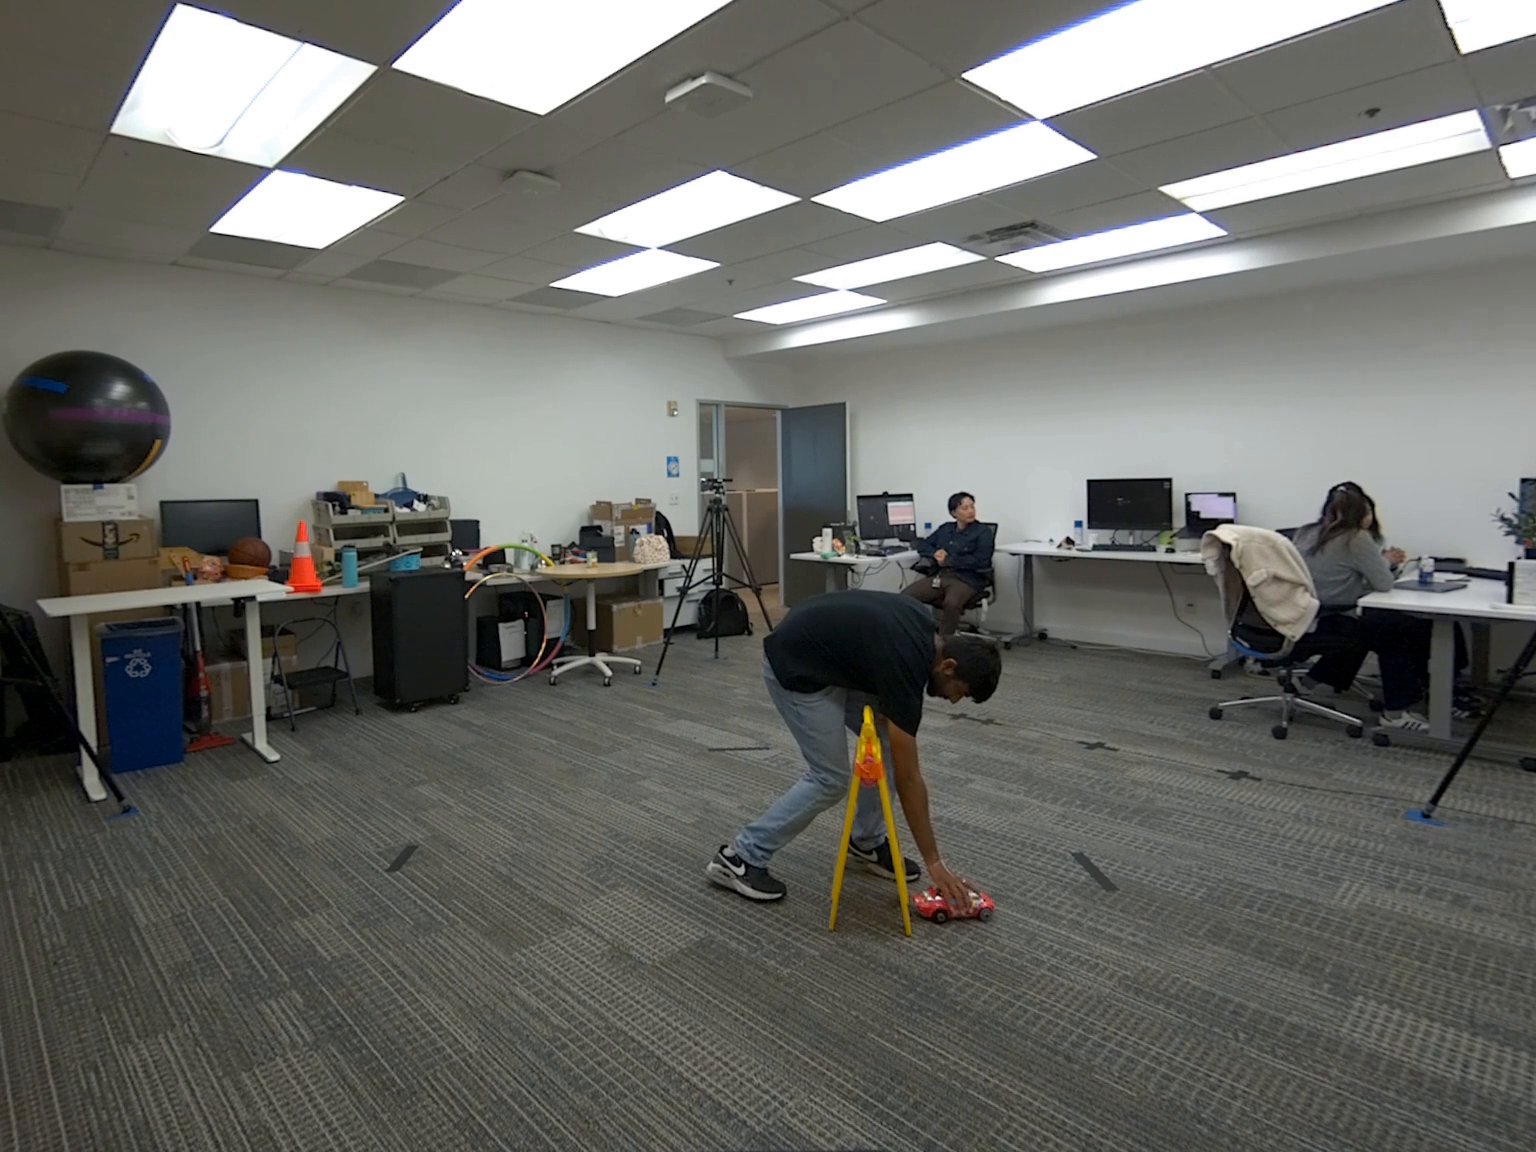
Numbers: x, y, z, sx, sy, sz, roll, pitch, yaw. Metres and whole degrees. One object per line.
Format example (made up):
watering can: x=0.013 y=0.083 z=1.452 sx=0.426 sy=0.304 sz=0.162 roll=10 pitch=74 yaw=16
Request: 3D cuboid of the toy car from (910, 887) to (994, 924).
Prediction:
toy car: x=0.583 y=1.042 z=2.710 sx=0.252 sy=0.083 sz=0.132 roll=11 pitch=4 yaw=-8
